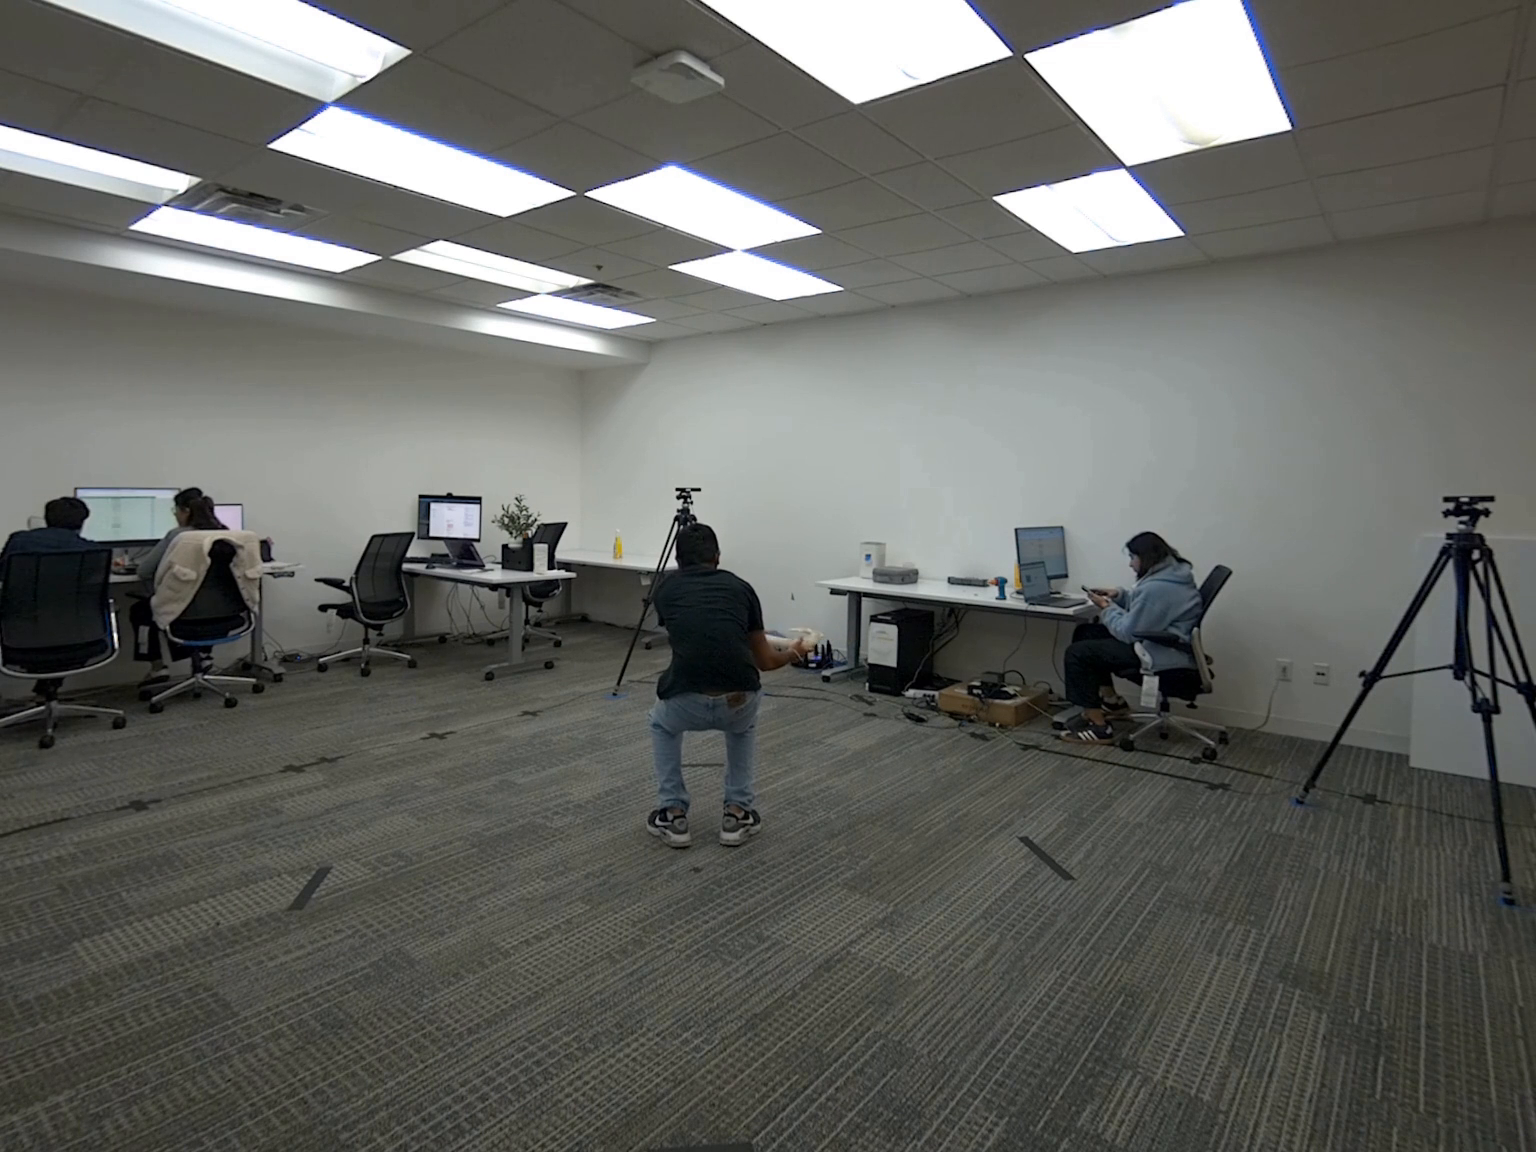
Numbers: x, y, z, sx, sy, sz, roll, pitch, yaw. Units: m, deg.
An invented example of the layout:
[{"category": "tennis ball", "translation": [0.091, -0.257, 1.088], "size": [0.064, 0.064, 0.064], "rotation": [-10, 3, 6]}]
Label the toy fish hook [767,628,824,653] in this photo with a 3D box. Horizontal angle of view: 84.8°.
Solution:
[{"category": "toy fish hook", "translation": [-0.012, 0.271, 3.946], "size": [0.521, 0.048, 0.221], "rotation": [4, 14, 27]}]
